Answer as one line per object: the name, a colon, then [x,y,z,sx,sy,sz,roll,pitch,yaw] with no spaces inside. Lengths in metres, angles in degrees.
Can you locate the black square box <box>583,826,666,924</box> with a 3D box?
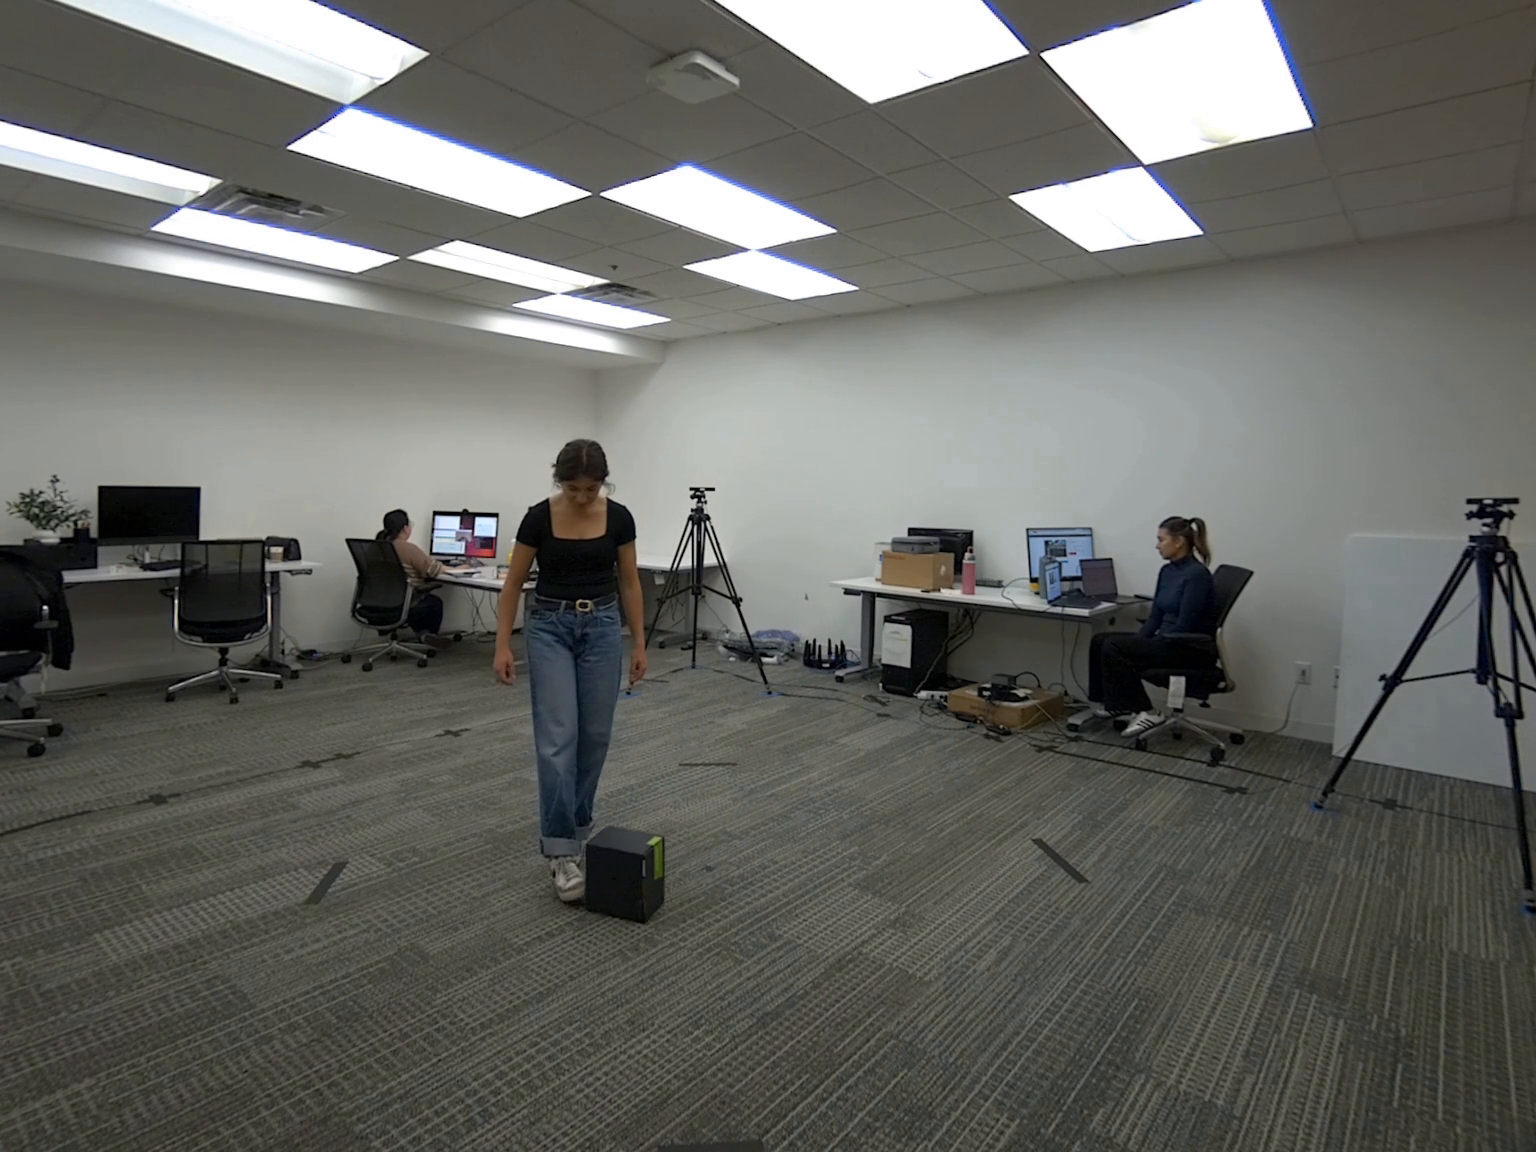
black square box: [-0.480,0.971,2.800,0.222,0.227,0.153,3,4,21]
